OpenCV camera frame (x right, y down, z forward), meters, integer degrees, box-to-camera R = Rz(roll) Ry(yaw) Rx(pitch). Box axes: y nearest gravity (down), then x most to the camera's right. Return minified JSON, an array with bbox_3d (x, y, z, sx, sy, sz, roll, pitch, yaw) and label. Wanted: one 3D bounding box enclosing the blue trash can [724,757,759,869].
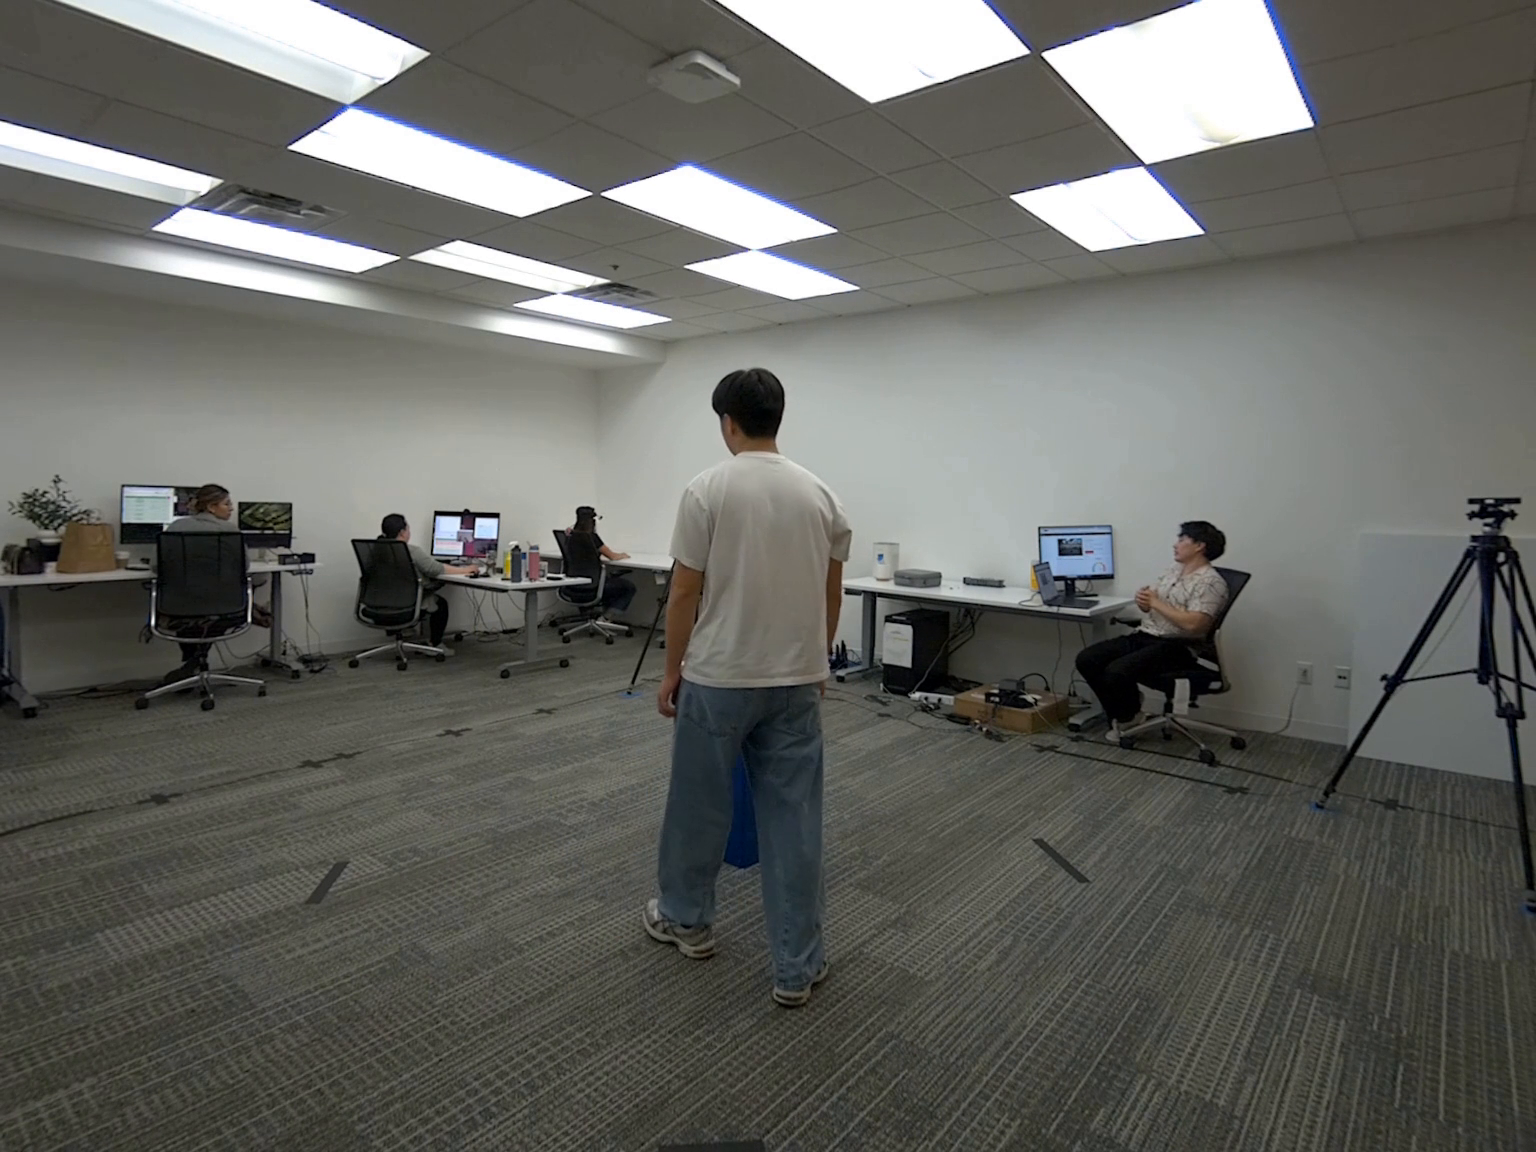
[{"bbox_3d":[-0.107,0.688,3.290,0.386,0.711,0.367,4,4,40],"label":"blue trash can"}]
